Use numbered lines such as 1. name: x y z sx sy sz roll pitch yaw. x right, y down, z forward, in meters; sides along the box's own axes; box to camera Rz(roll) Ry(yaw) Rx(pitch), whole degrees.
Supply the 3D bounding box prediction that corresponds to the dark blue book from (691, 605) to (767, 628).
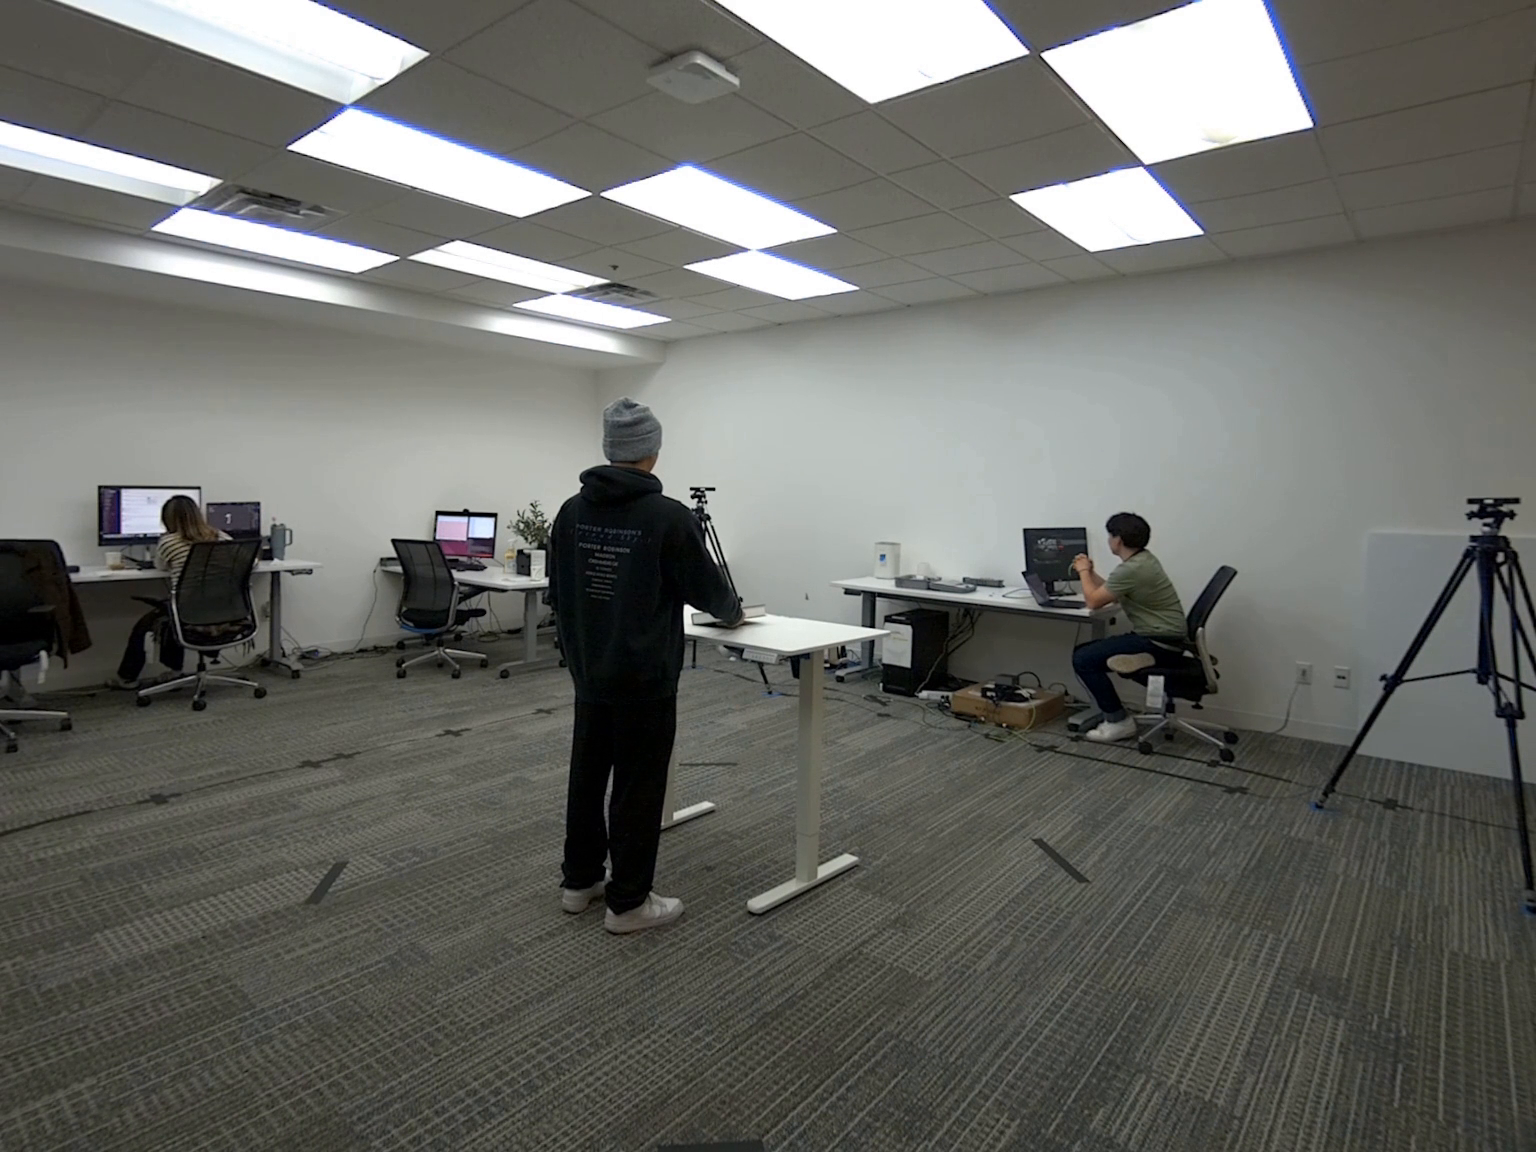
1. dark blue book: -0.157 0.144 3.183 0.168 0.045 0.238 -7 -2 44
